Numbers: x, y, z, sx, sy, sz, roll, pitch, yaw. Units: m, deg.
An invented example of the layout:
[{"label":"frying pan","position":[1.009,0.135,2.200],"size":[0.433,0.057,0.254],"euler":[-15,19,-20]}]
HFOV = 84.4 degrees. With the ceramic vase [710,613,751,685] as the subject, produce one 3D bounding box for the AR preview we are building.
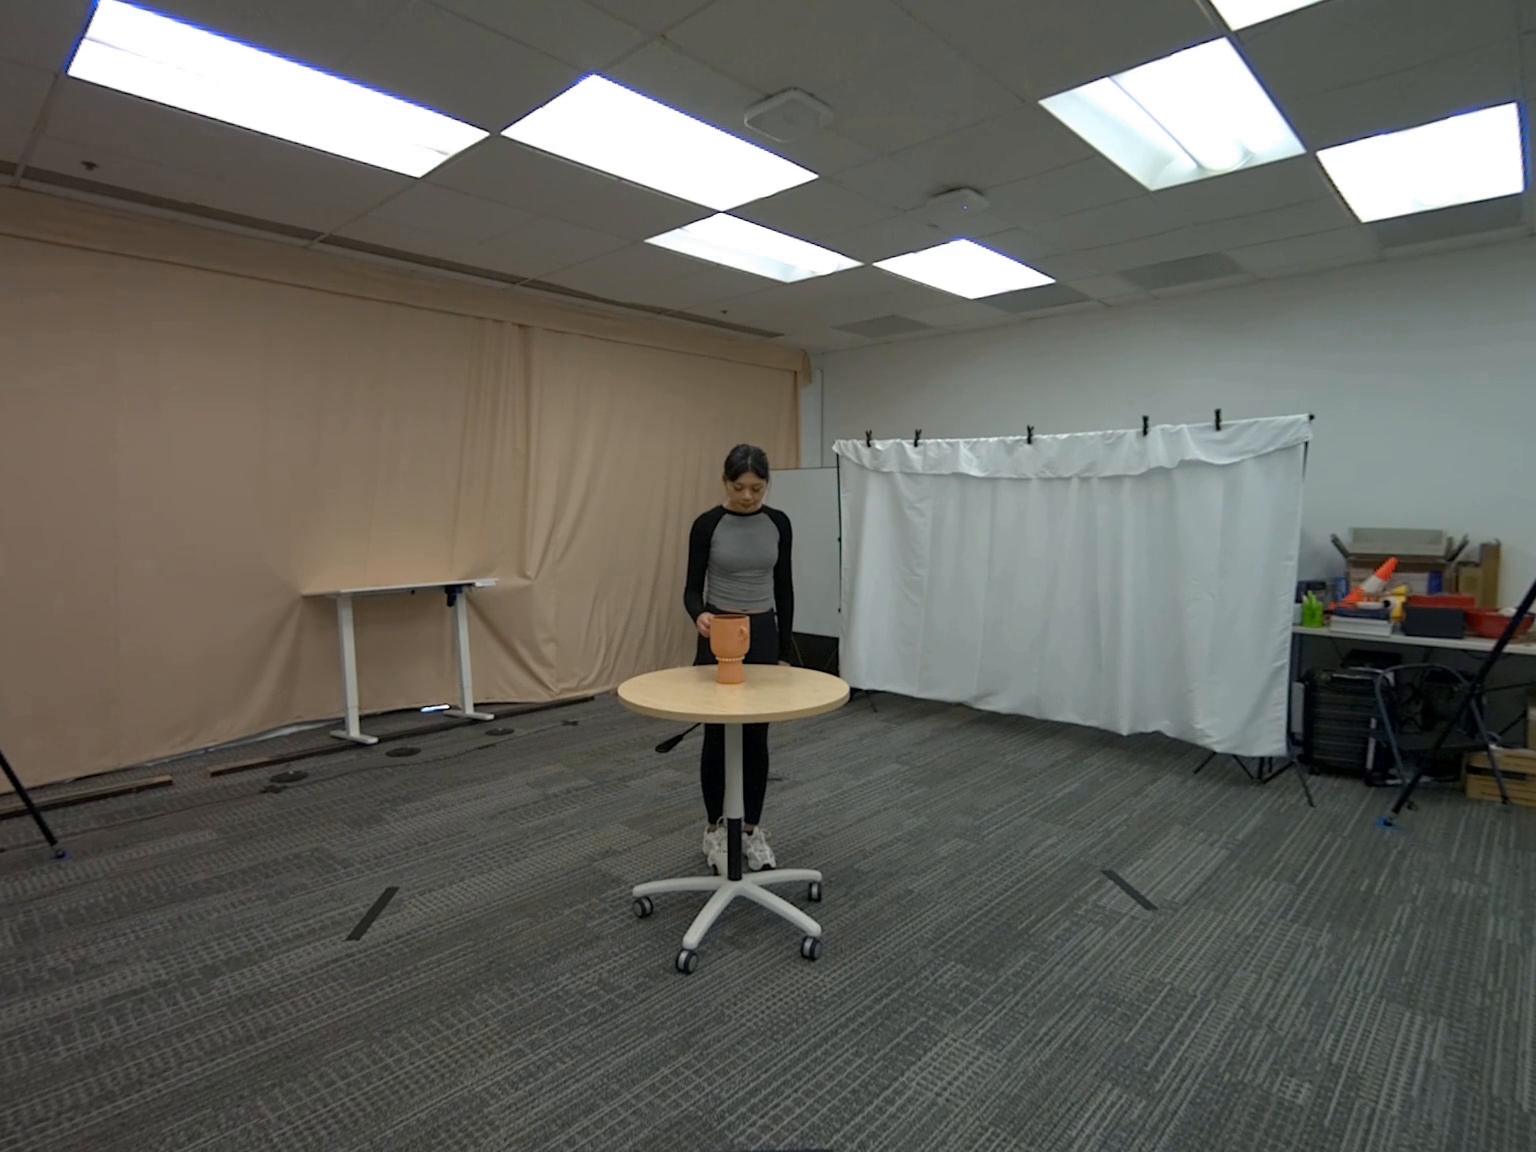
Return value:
[{"label":"ceramic vase","position":[-0.128,0.249,2.872],"size":[0.135,0.219,0.158],"euler":[-1,4,3]}]
